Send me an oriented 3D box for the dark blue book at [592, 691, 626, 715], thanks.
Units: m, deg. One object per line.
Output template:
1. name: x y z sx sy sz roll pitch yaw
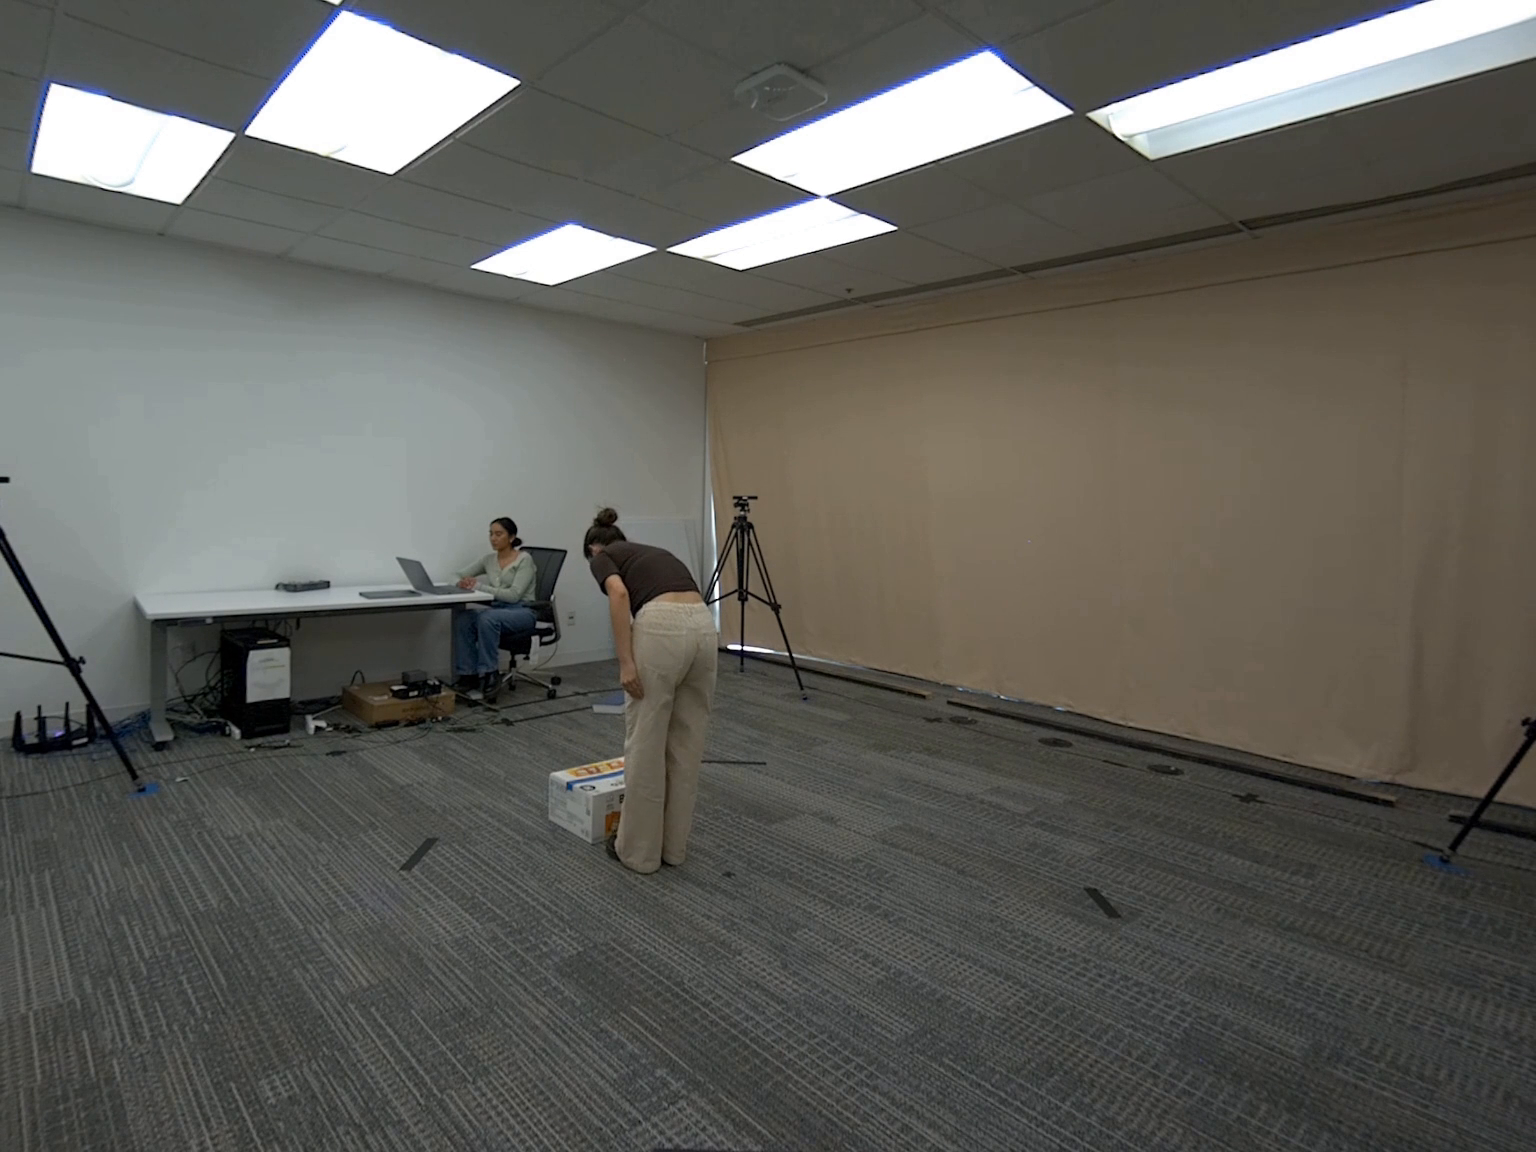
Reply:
1. dark blue book: -0.609 0.517 3.490 0.250 0.045 0.161 -5 10 46
